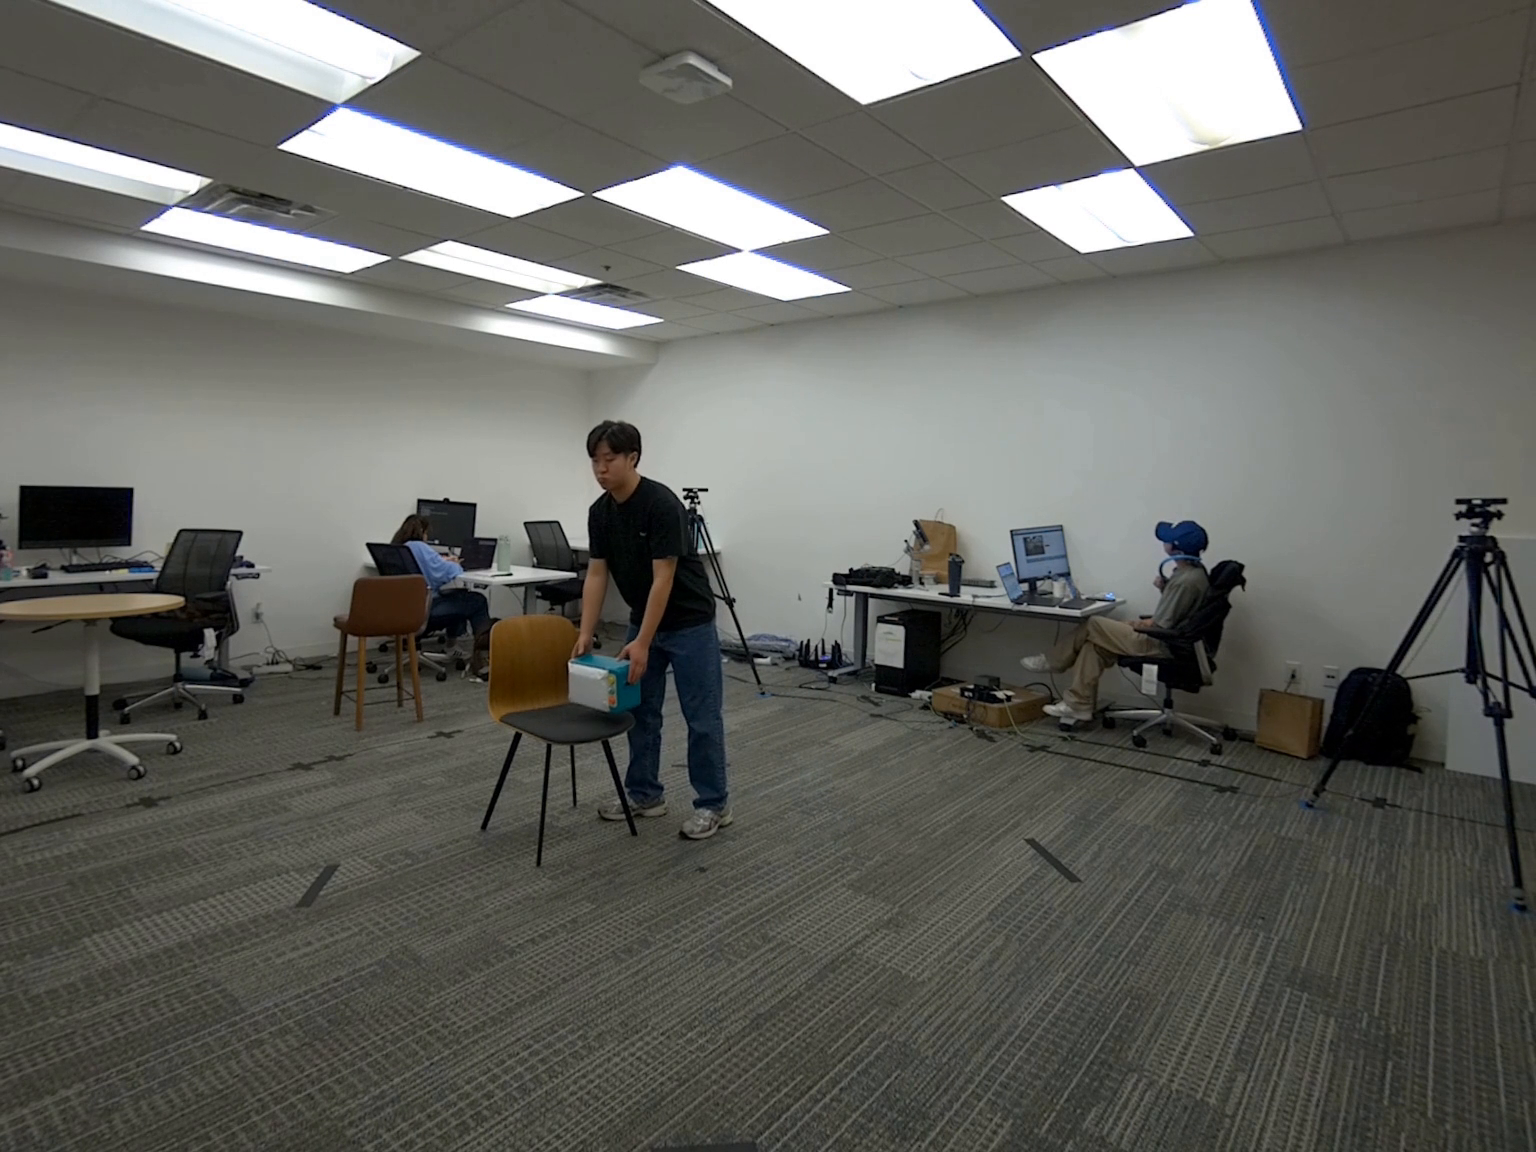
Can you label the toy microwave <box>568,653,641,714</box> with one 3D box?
[{"bbox_3d":[-0.660,0.416,3.330,0.295,0.183,0.148,6,9,35],"label":"toy microwave"}]
